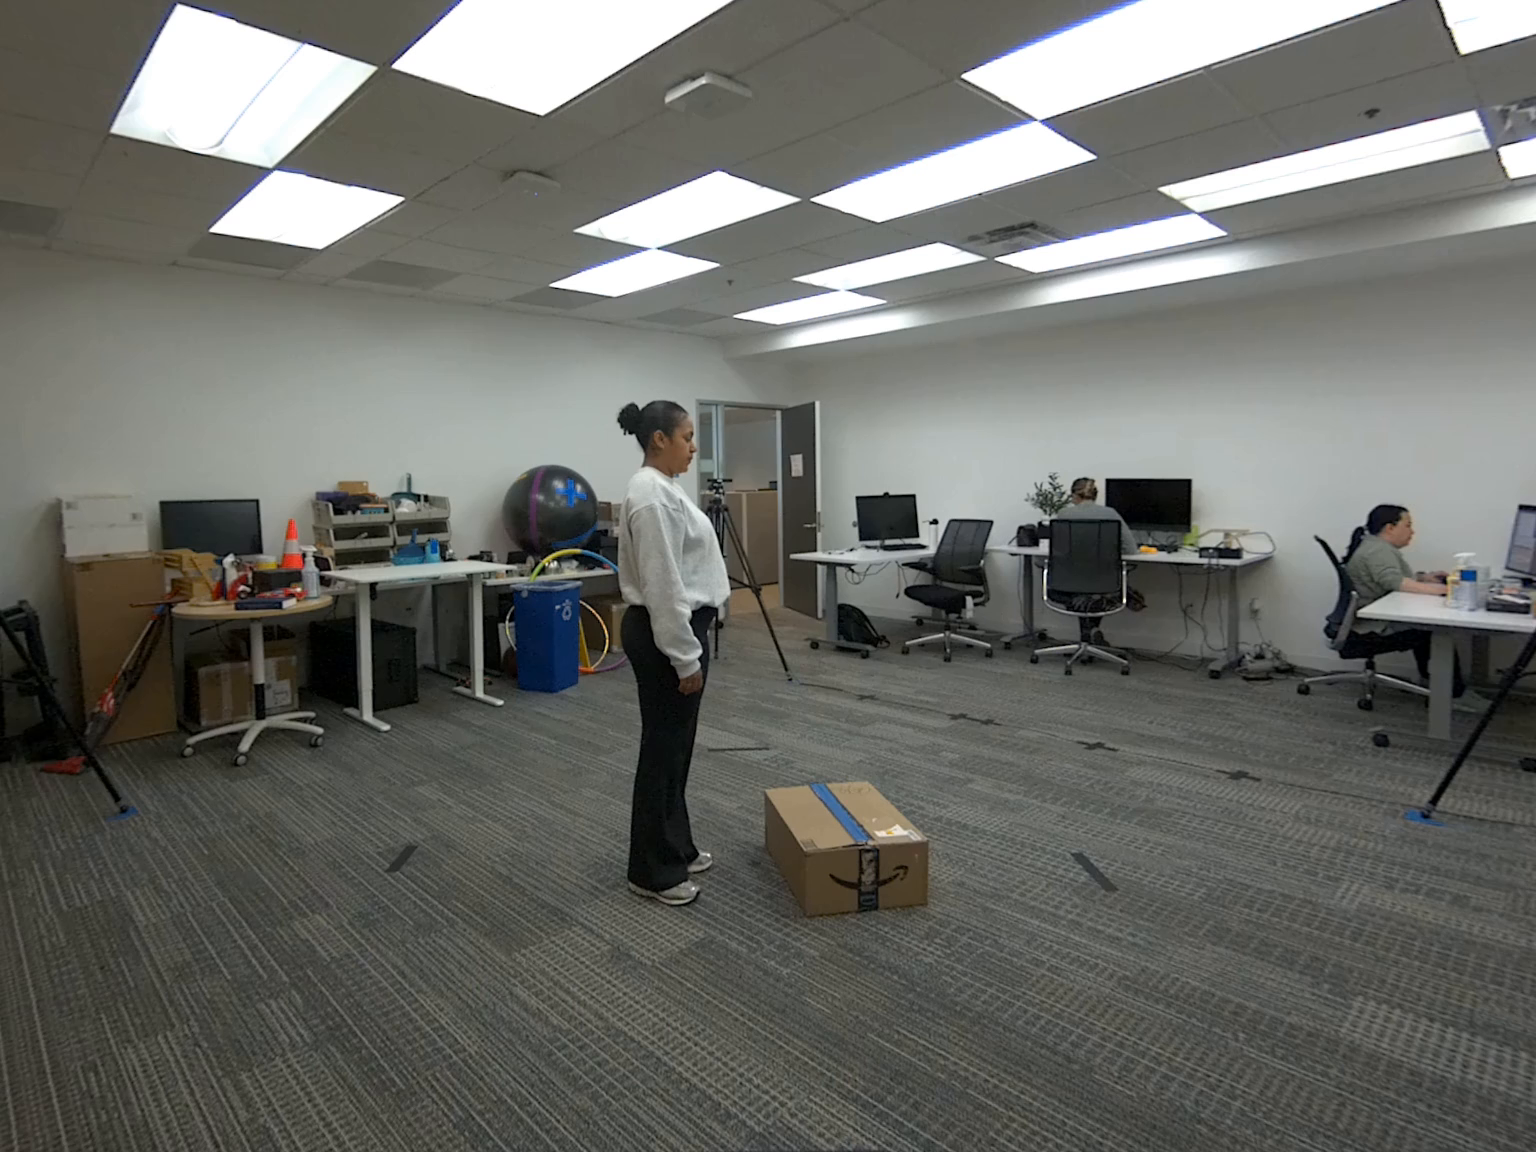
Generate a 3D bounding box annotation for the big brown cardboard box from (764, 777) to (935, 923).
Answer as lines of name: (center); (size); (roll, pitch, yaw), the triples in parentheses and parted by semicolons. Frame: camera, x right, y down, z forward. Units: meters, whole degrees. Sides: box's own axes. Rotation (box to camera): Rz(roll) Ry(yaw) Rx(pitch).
big brown cardboard box: (0.261, 0.934, 3.013); (0.413, 0.232, 0.598); (-3, 5, -12)
